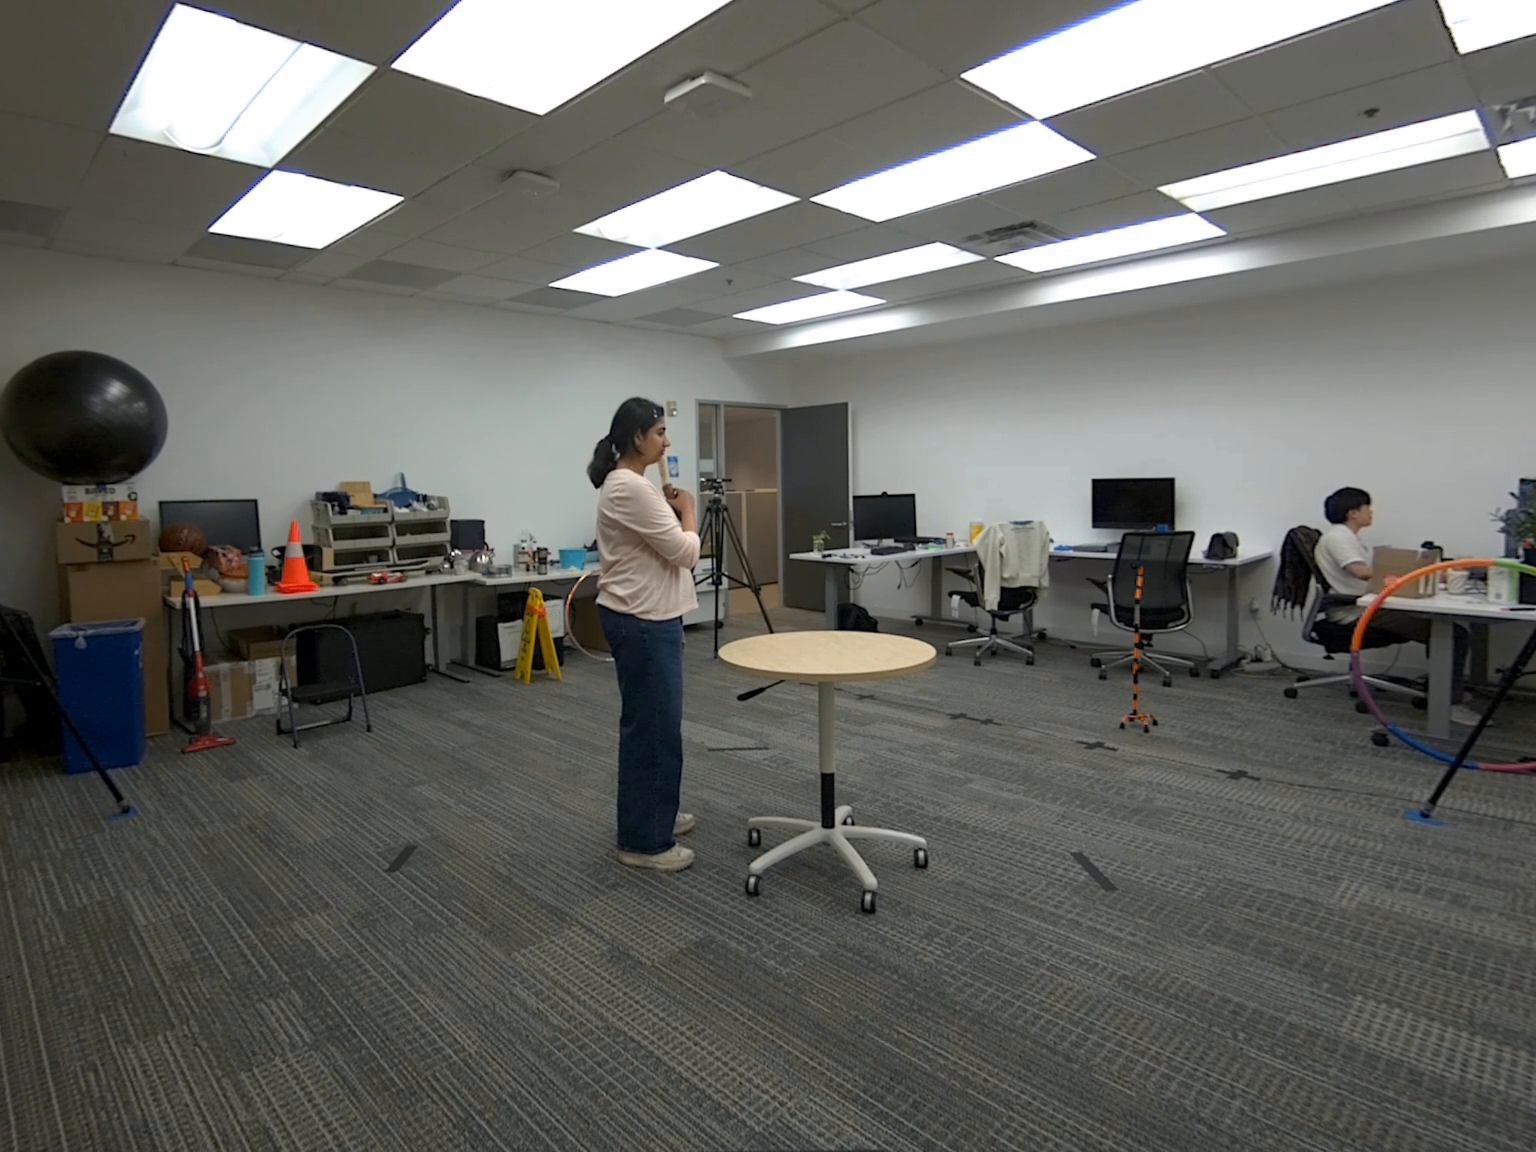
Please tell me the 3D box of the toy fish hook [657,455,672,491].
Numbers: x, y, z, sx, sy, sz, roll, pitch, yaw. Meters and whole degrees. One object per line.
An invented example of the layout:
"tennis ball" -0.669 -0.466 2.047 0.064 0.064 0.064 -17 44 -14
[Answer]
"toy fish hook" -0.458 -0.378 3.301 0.226 0.509 0.048 -25 -4 12
